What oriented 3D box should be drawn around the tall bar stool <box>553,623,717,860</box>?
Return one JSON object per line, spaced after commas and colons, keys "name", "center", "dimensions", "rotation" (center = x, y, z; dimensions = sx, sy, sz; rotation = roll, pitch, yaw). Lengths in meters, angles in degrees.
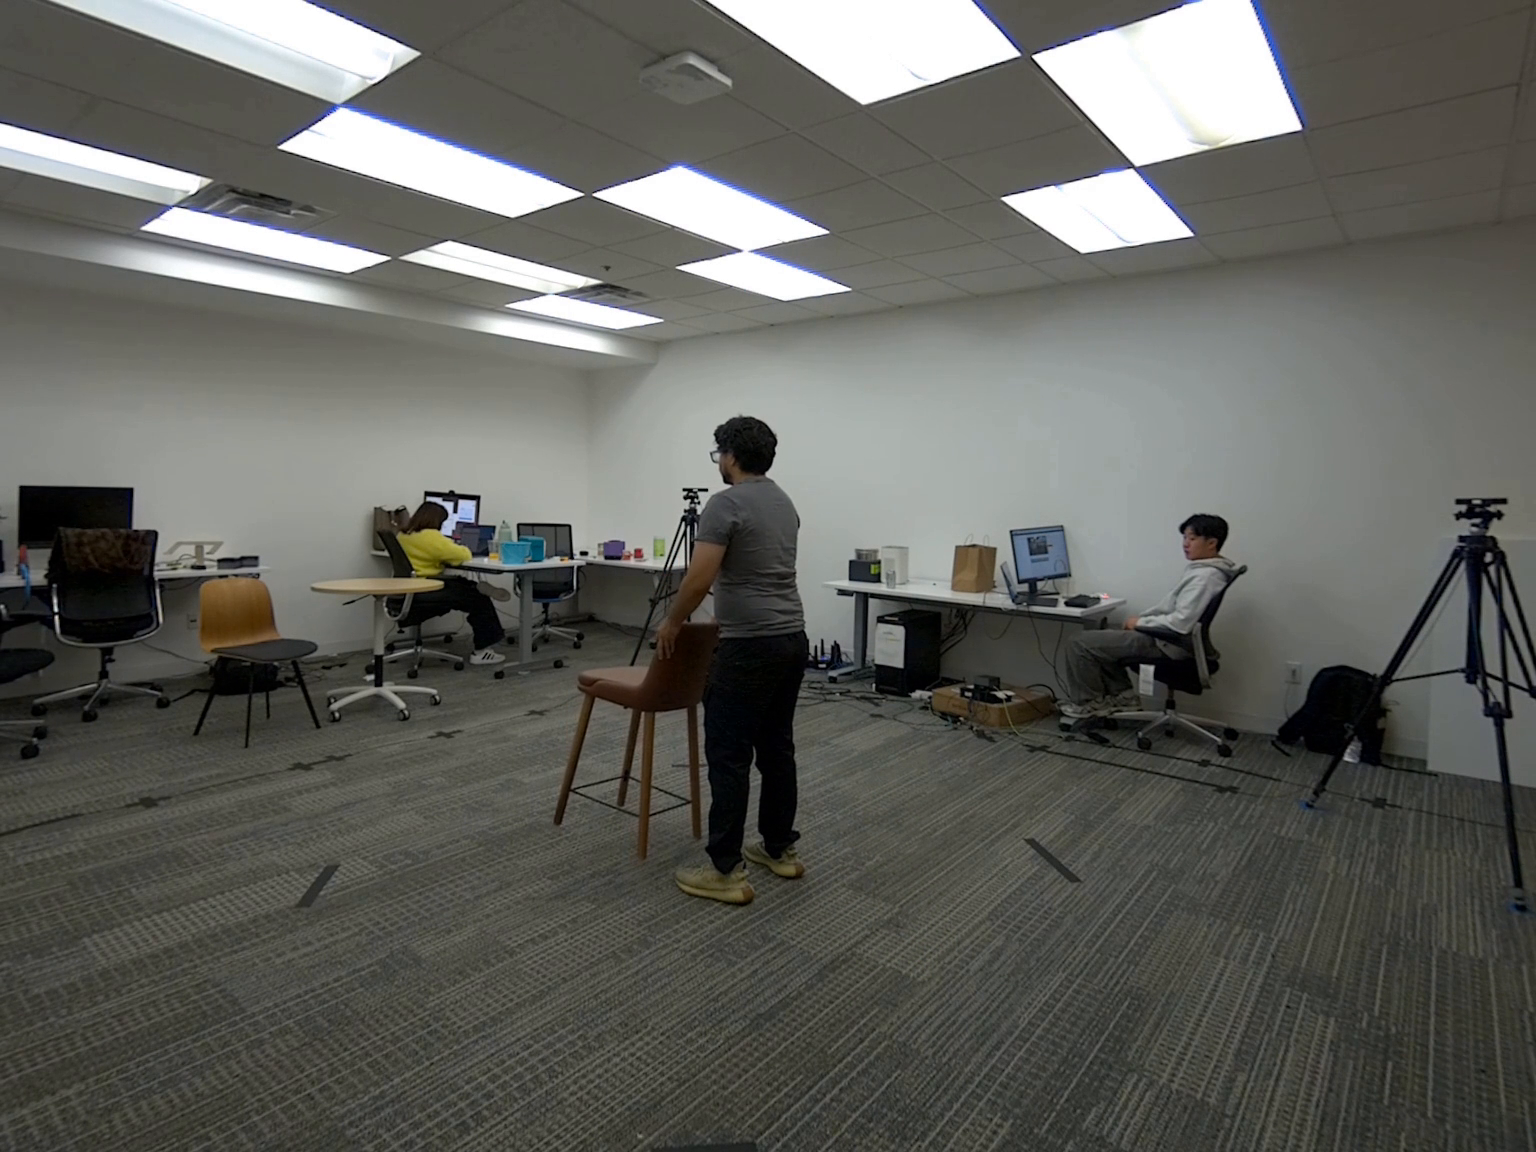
{"name": "tall bar stool", "center": [-0.499, 0.574, 3.364], "dimensions": [0.484, 0.888, 0.442], "rotation": [10, 2, 33]}
